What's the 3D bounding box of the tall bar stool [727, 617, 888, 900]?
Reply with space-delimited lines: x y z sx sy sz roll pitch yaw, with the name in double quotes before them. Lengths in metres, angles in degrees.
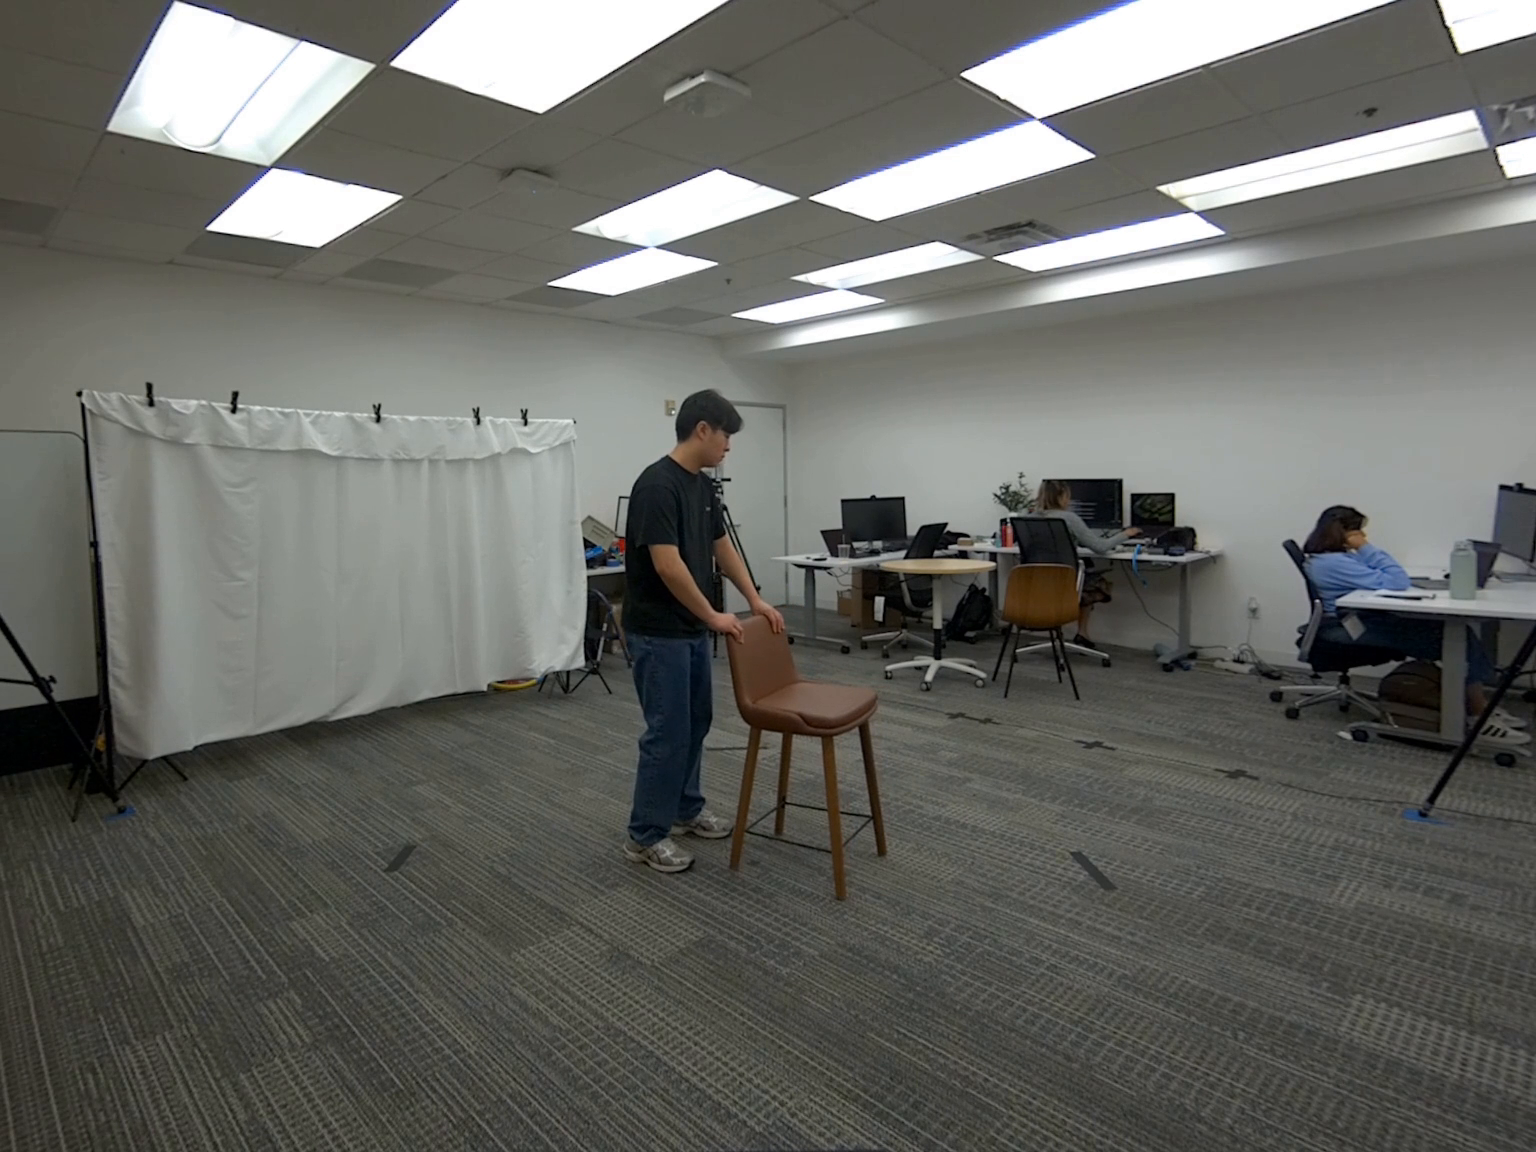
"tall bar stool" 0.135 0.599 3.081 0.480 0.888 0.446 -1 3 31
